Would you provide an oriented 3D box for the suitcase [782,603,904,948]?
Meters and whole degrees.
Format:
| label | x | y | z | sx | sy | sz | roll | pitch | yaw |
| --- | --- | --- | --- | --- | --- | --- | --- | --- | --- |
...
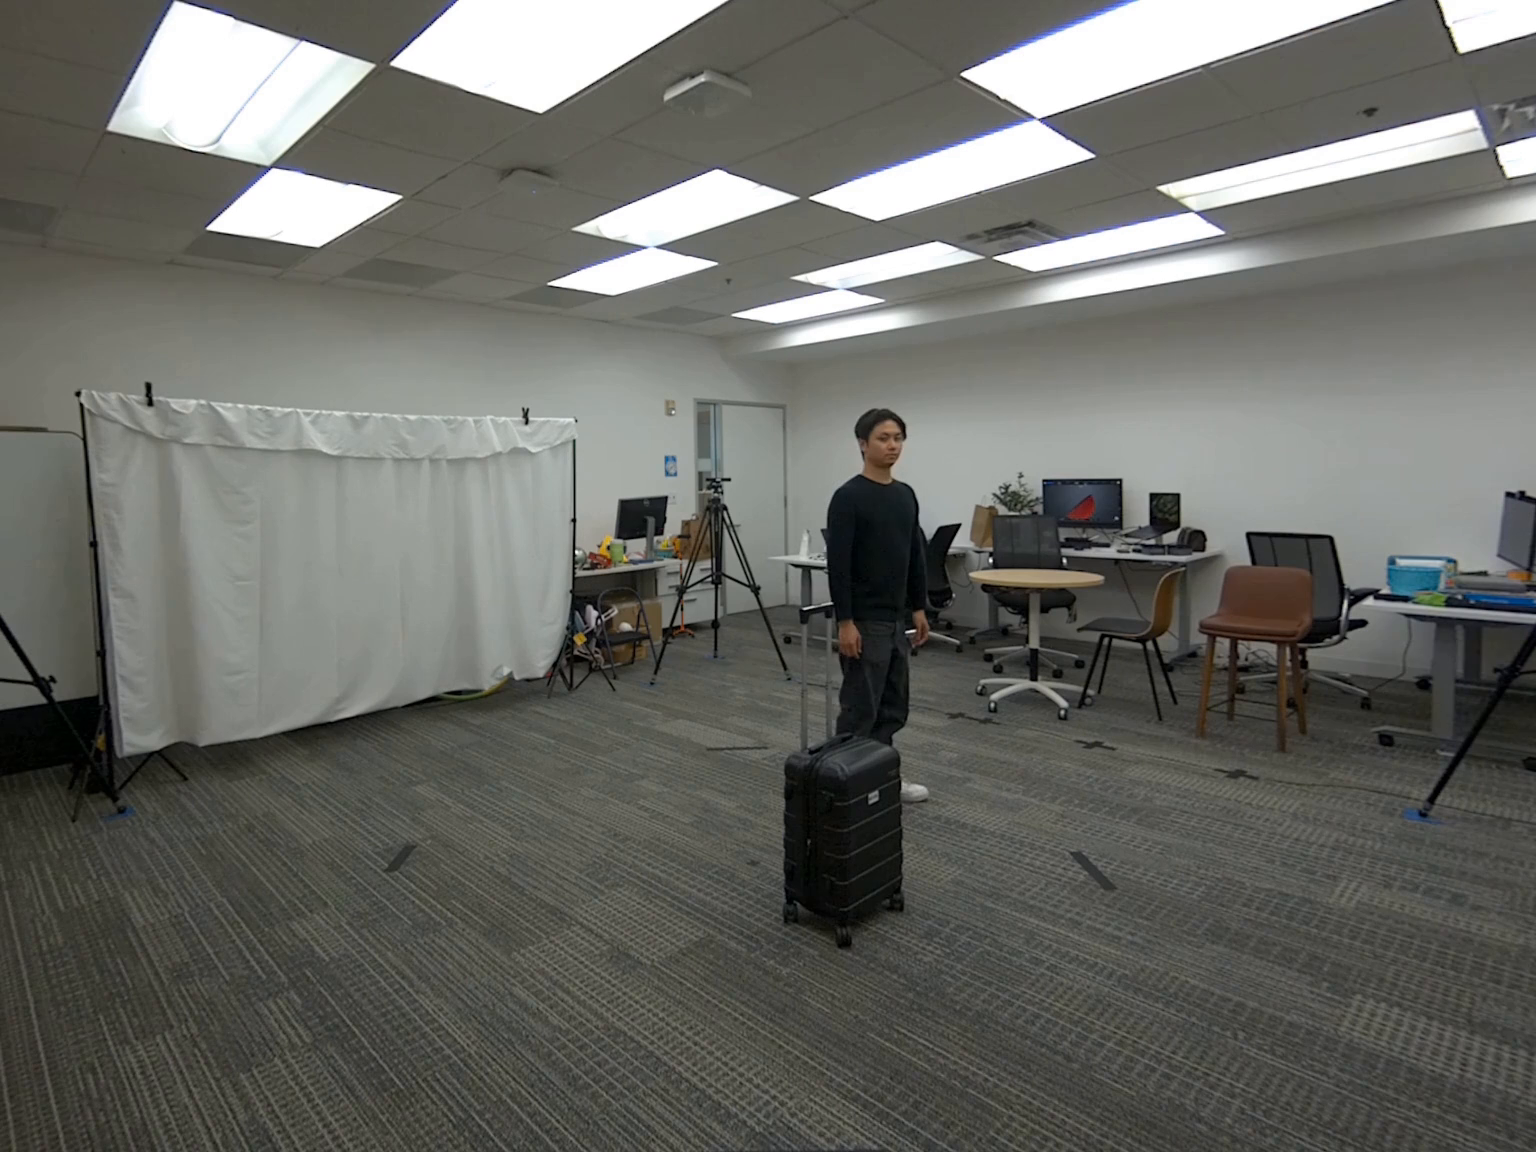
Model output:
| label | x | y | z | sx | sy | sz | roll | pitch | yaw |
| --- | --- | --- | --- | --- | --- | --- | --- | --- | --- |
| suitcase | 0.247 | 0.603 | 2.715 | 0.265 | 0.975 | 0.373 | 4 | 5 | 44 |
